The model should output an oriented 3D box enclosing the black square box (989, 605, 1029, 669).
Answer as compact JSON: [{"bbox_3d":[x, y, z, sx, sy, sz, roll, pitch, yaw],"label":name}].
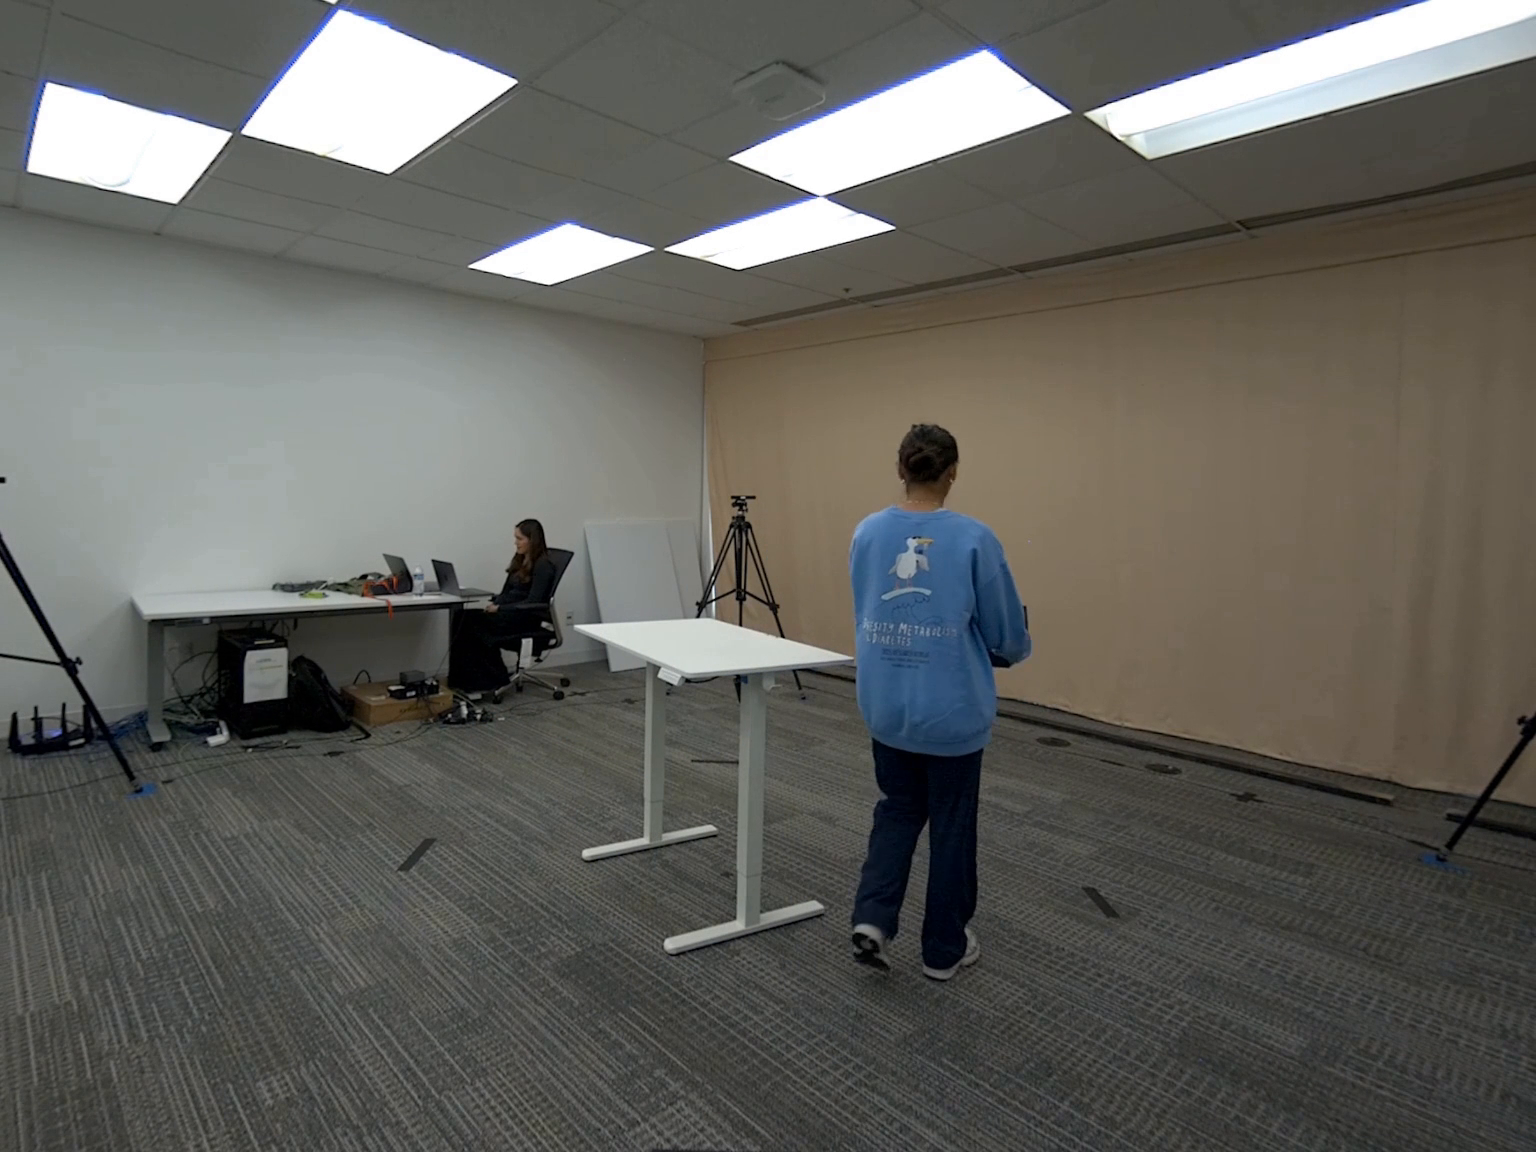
[{"bbox_3d":[0.717,0.205,2.800,0.221,0.155,0.224,-1,9,34],"label":"black square box"}]
